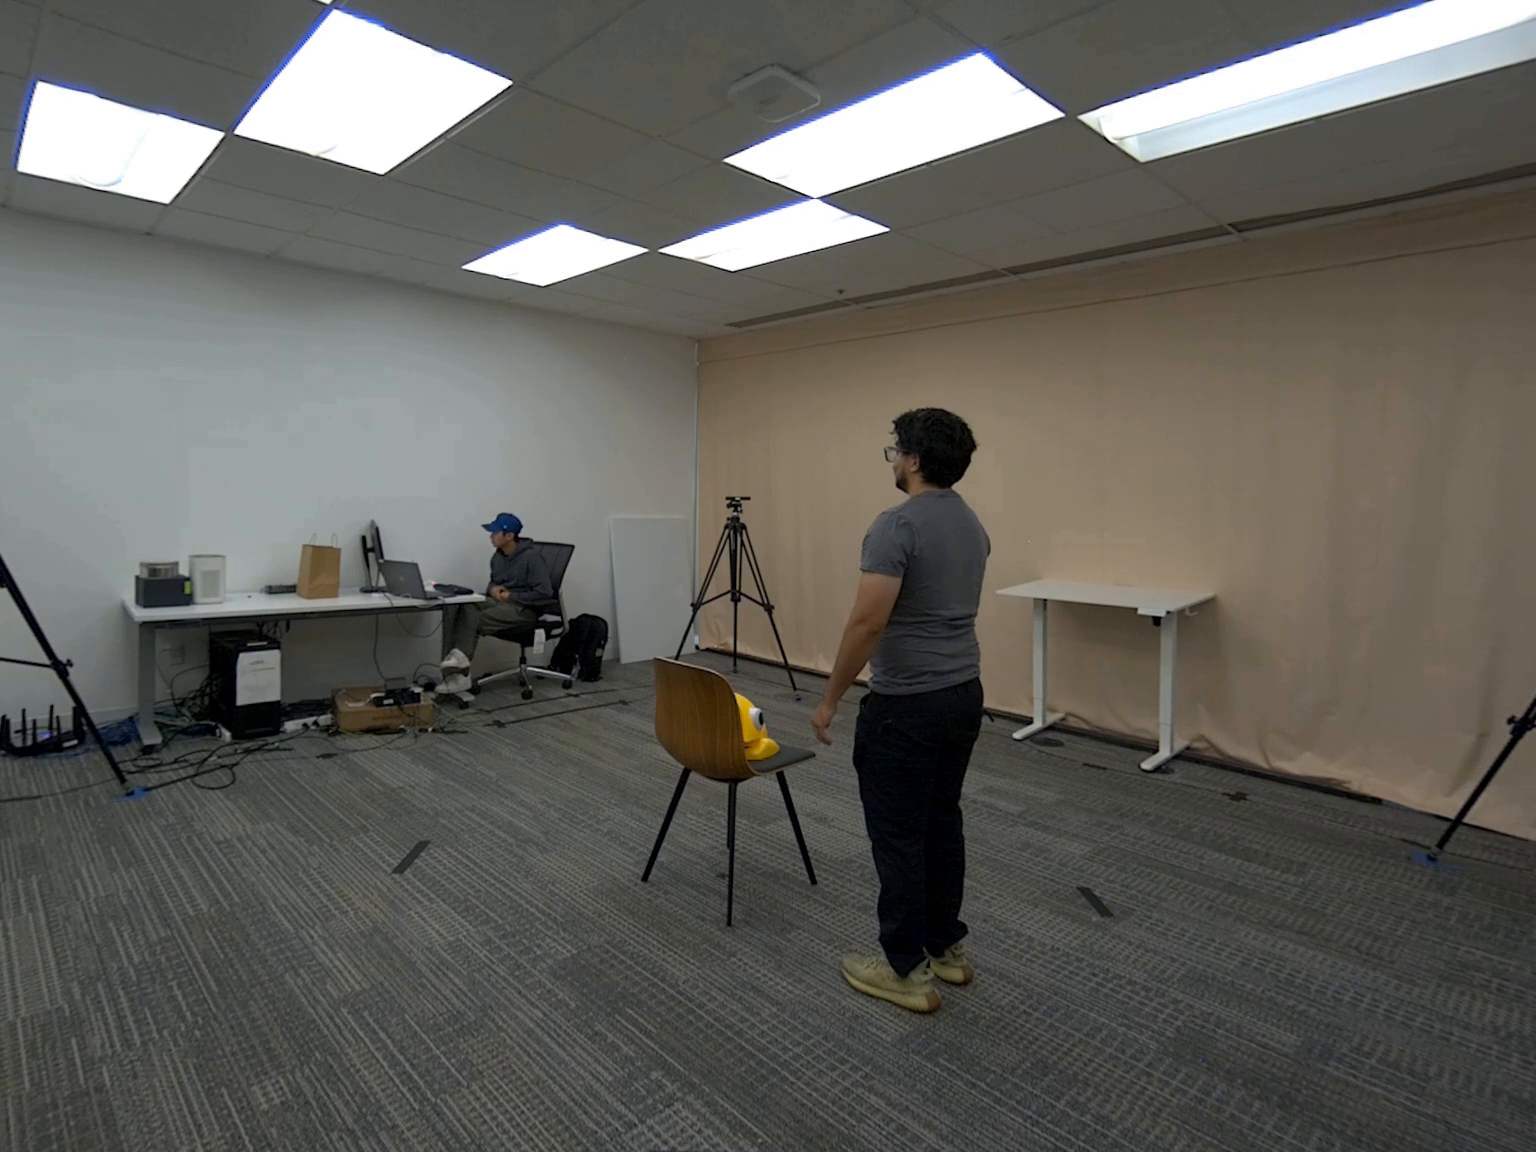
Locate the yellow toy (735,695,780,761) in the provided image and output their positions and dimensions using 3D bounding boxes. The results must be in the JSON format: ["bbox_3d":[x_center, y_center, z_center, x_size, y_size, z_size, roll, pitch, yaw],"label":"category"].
[{"bbox_3d":[-0.082,0.521,3.032,0.189,0.230,0.210,-8,6,-41],"label":"yellow toy"}]
